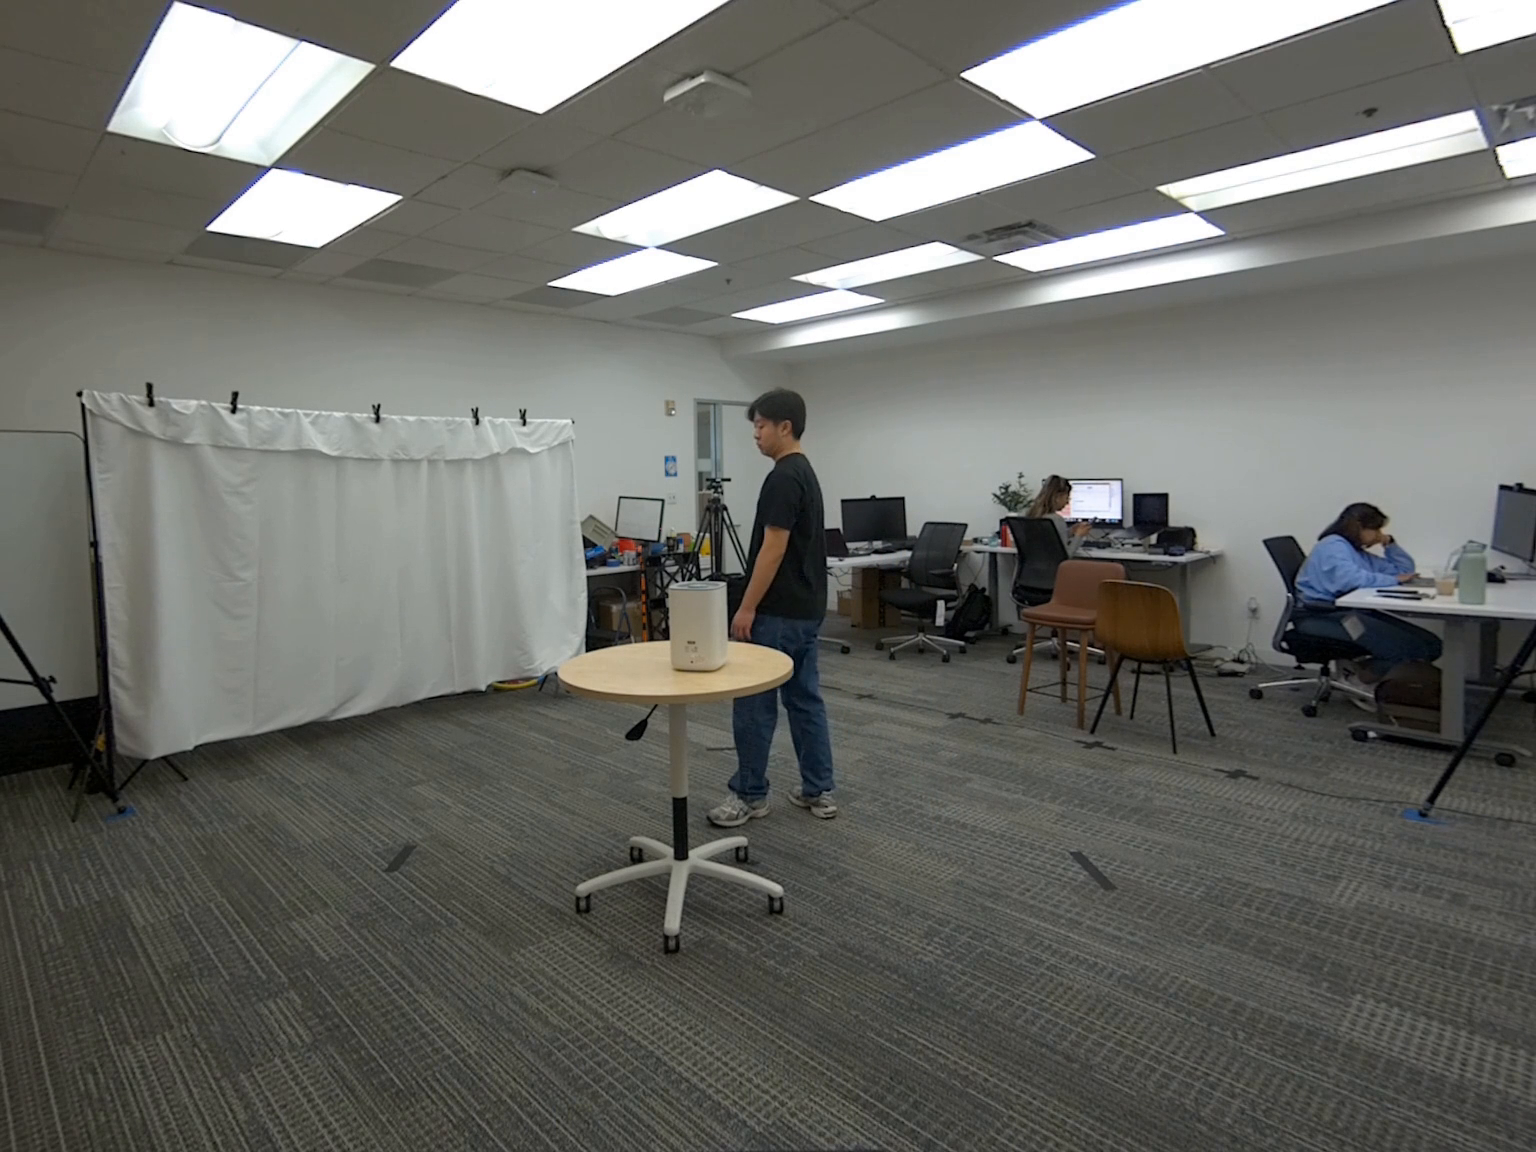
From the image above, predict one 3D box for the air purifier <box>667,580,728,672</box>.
[{"bbox_3d":[-0.214,0.162,2.734,0.173,0.264,0.170,-1,4,10],"label":"air purifier"}]
